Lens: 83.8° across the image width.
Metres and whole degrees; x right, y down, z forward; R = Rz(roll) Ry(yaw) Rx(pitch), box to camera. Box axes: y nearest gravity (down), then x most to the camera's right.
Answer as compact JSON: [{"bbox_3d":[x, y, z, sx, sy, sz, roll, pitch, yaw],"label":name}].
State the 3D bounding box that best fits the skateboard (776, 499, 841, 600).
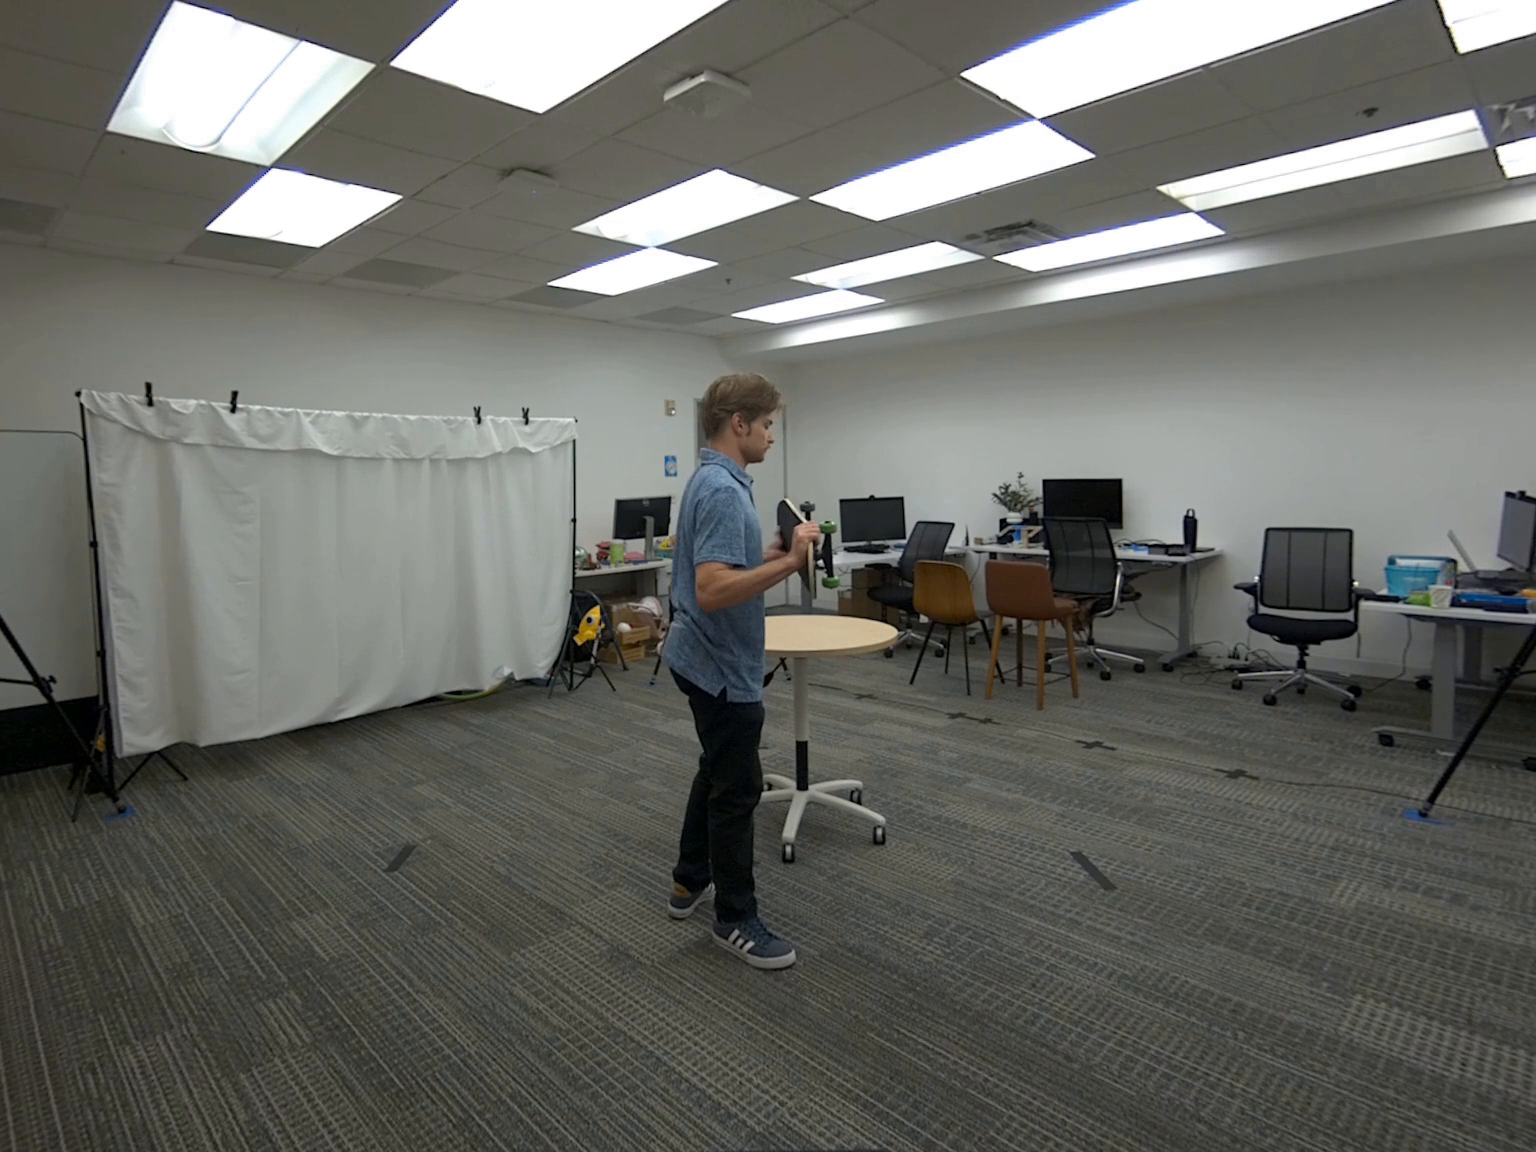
[{"bbox_3d":[0.121,-0.095,2.542,0.110,0.191,0.796,-6,13,-3],"label":"skateboard"}]
